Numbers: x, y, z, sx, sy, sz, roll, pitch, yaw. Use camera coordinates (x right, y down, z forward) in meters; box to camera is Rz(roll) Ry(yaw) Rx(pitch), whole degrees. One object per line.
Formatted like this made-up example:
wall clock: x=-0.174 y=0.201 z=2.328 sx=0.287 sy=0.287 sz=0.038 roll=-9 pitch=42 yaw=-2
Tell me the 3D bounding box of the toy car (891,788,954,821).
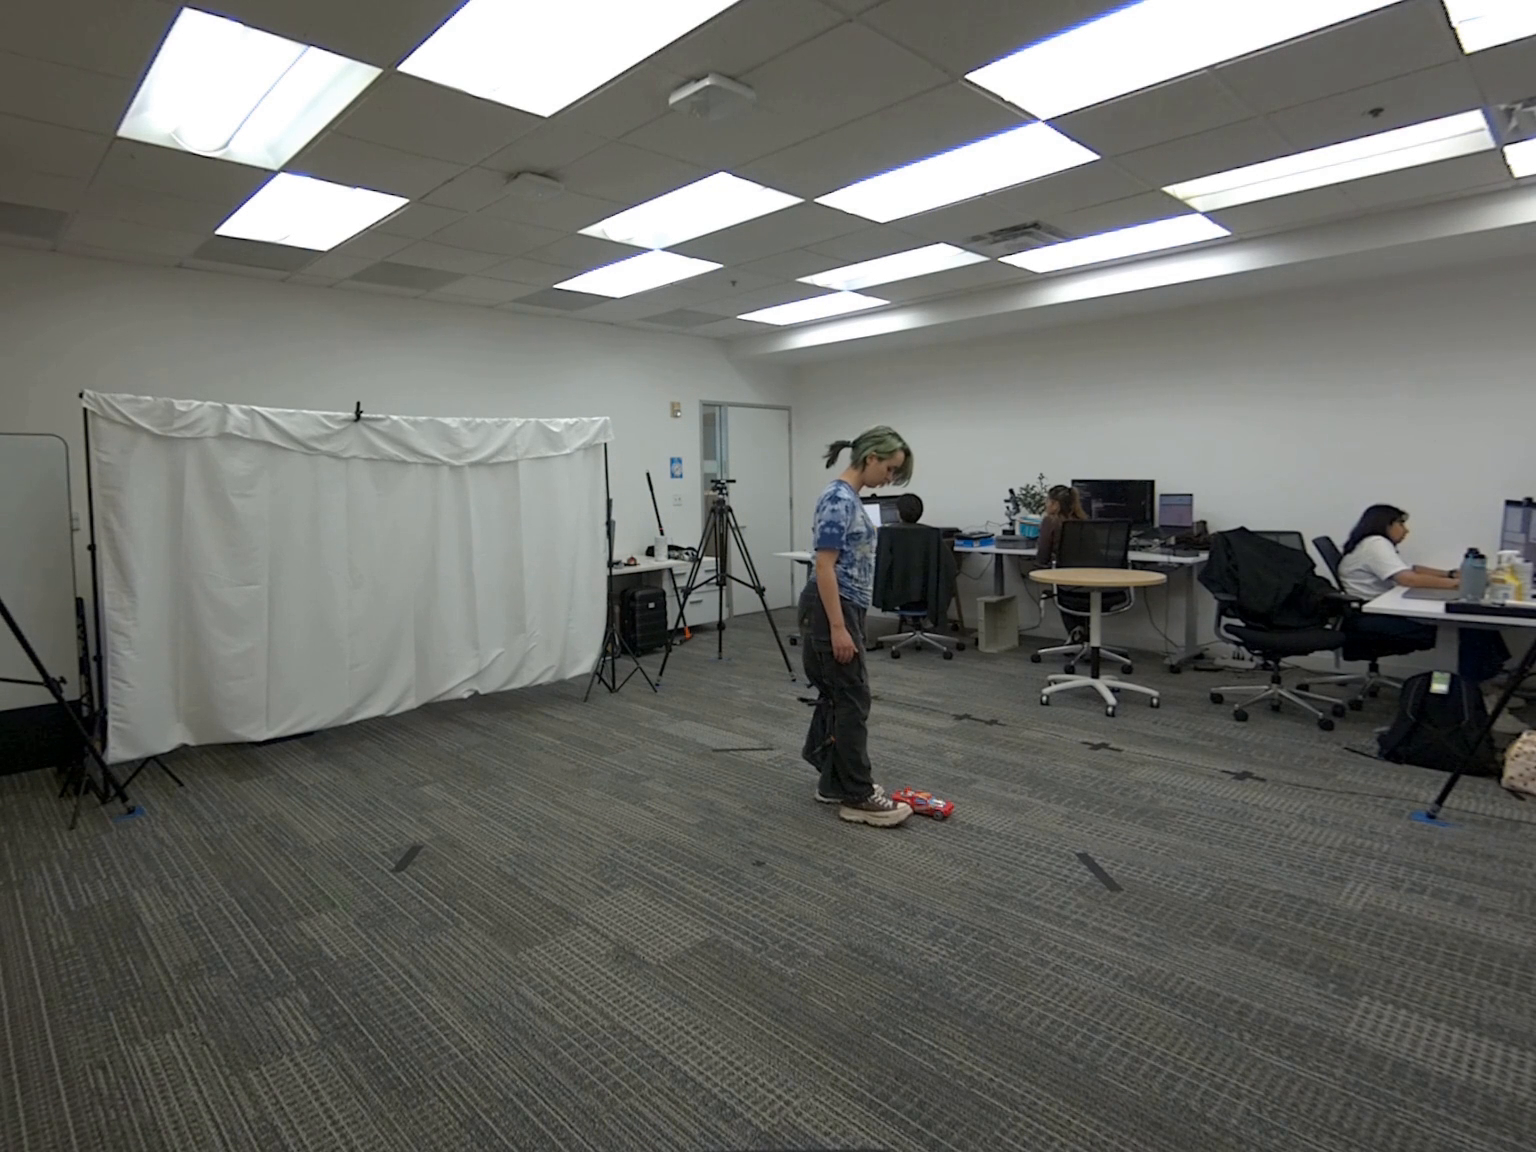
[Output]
toy car: x=0.637 y=0.950 z=3.573 sx=0.263 sy=0.082 sz=0.127 roll=17 pitch=16 yaw=31
